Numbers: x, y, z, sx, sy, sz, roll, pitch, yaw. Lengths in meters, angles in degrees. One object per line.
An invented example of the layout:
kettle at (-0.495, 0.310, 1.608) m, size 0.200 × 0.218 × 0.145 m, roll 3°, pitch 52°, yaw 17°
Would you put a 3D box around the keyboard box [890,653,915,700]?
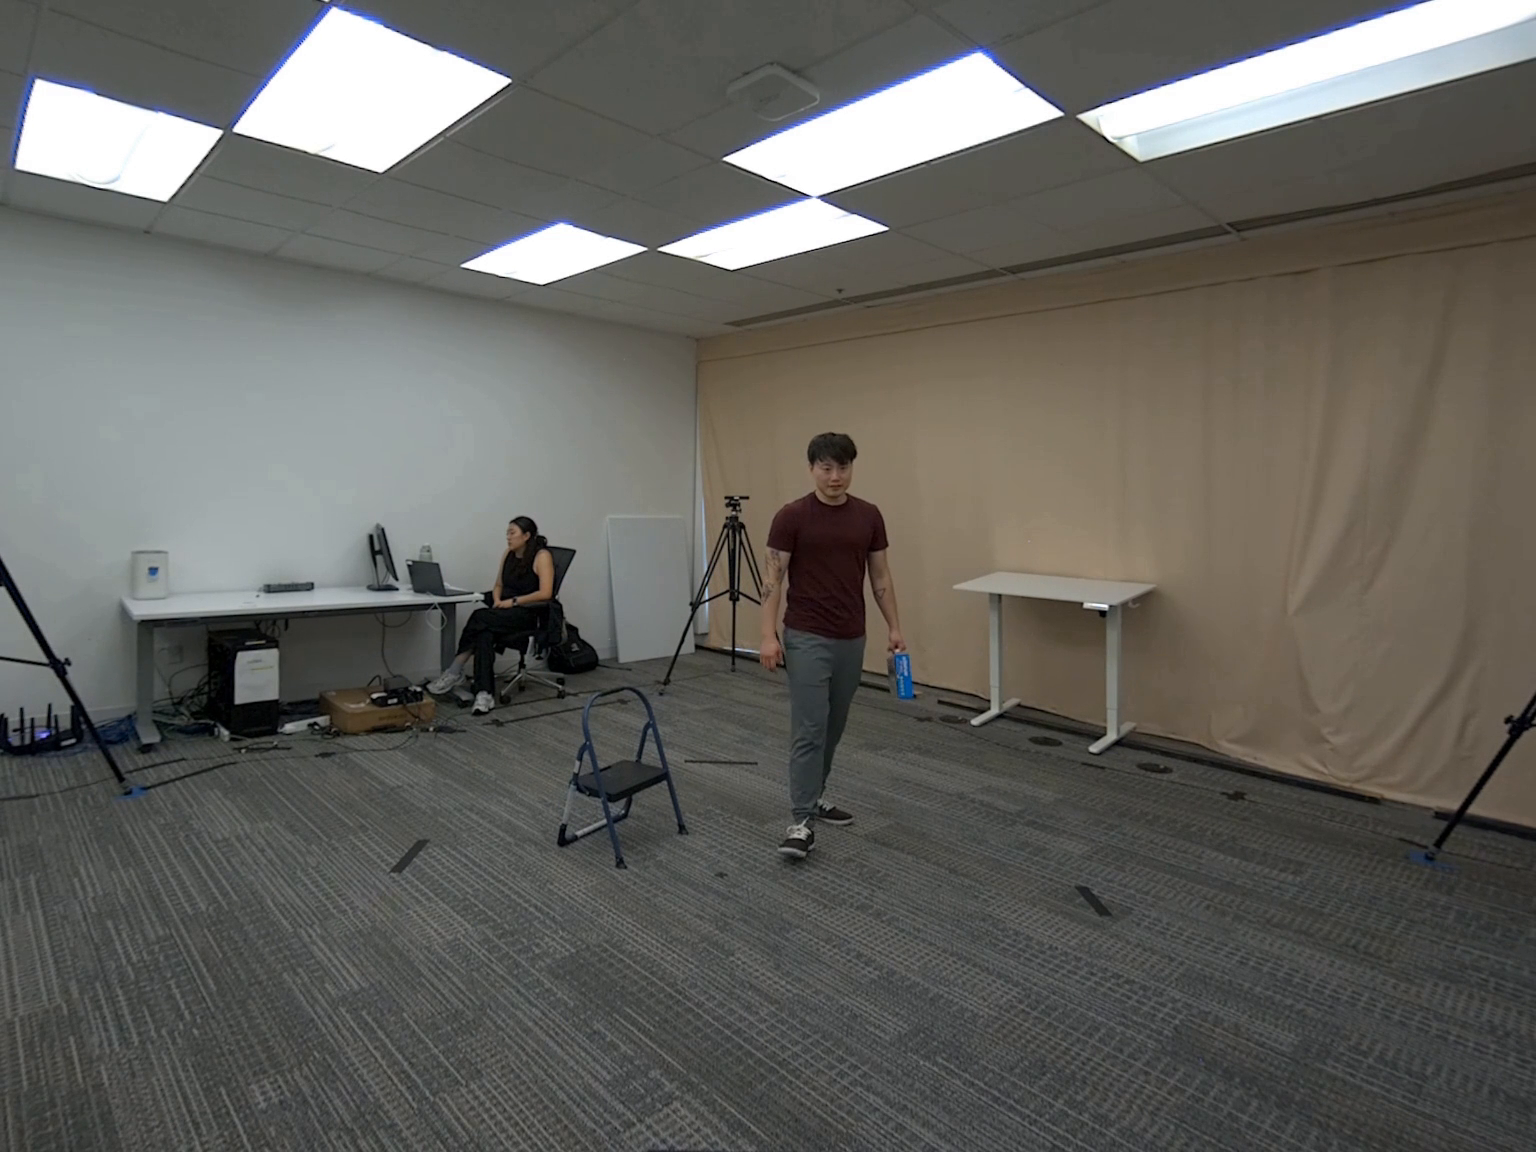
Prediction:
keyboard box at (0.528, 0.413, 3.506) m, size 0.059 × 0.177 × 0.432 m, roll -6°, pitch -7°, yaw 3°
